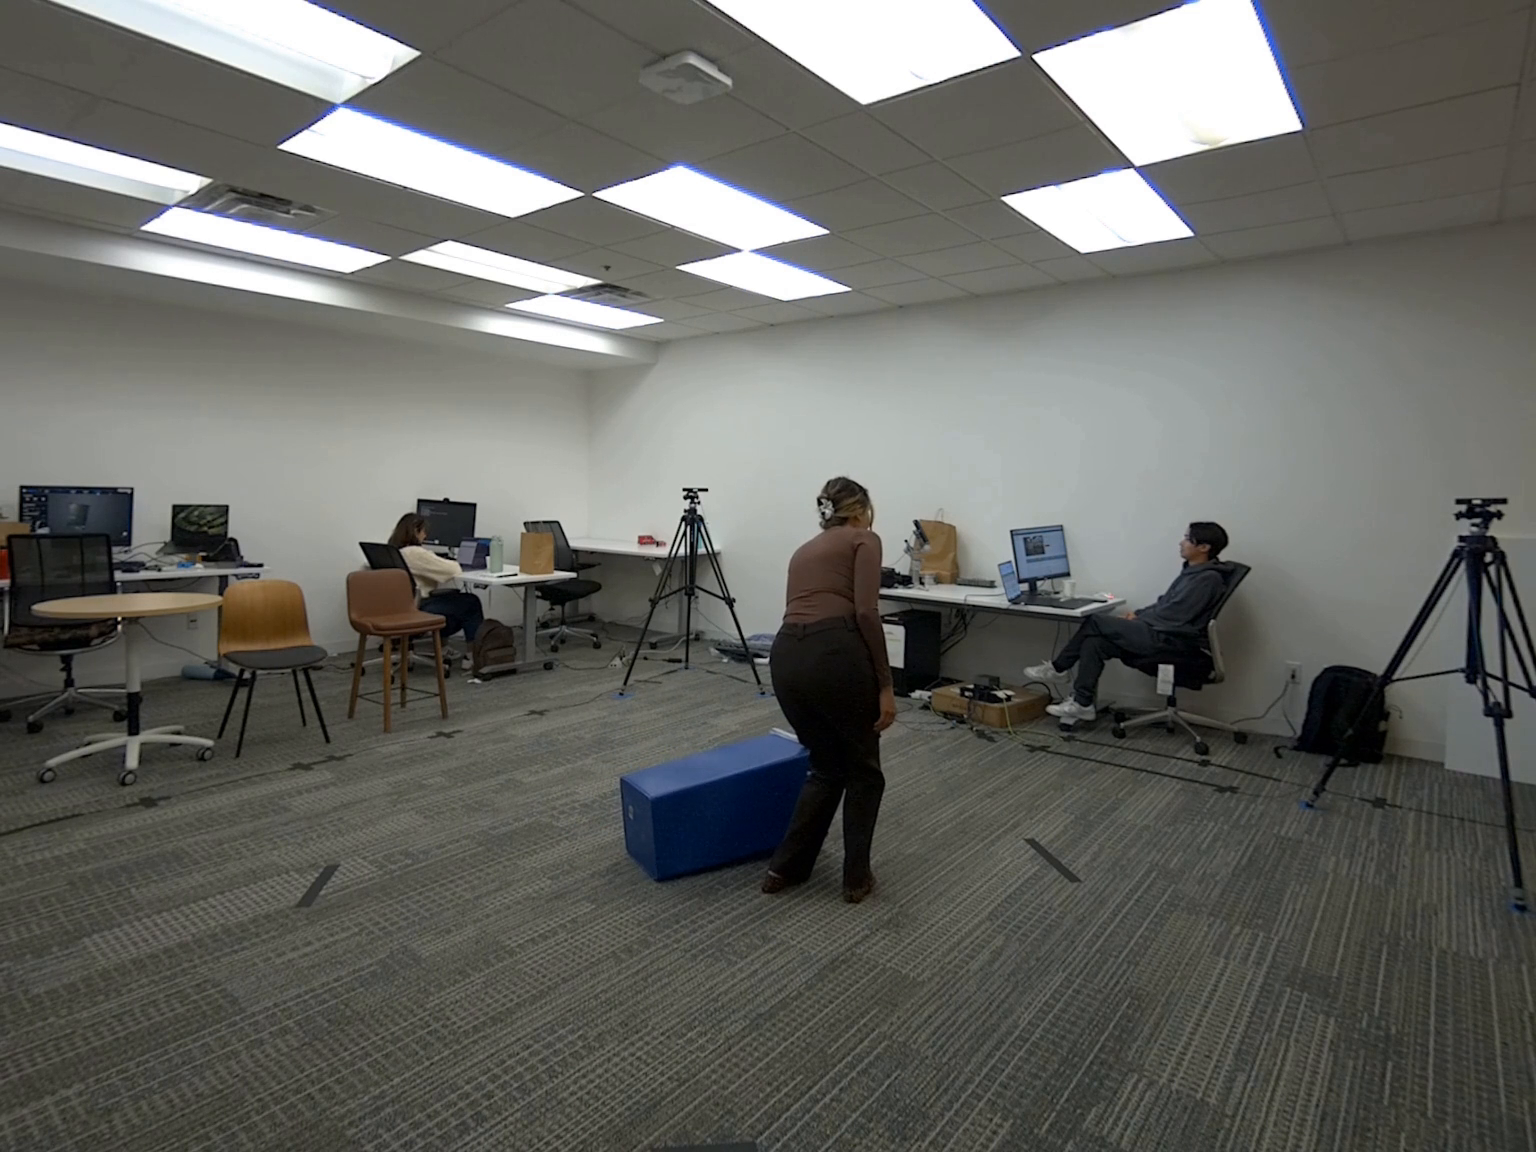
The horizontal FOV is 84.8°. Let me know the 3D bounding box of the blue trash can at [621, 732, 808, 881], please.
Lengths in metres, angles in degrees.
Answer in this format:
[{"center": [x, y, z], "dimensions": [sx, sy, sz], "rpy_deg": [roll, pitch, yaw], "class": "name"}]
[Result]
[{"center": [-0.192, 0.867, 3.282], "dimensions": [0.697, 0.376, 0.385], "rpy_deg": [-7, 6, -29], "class": "blue trash can"}]
